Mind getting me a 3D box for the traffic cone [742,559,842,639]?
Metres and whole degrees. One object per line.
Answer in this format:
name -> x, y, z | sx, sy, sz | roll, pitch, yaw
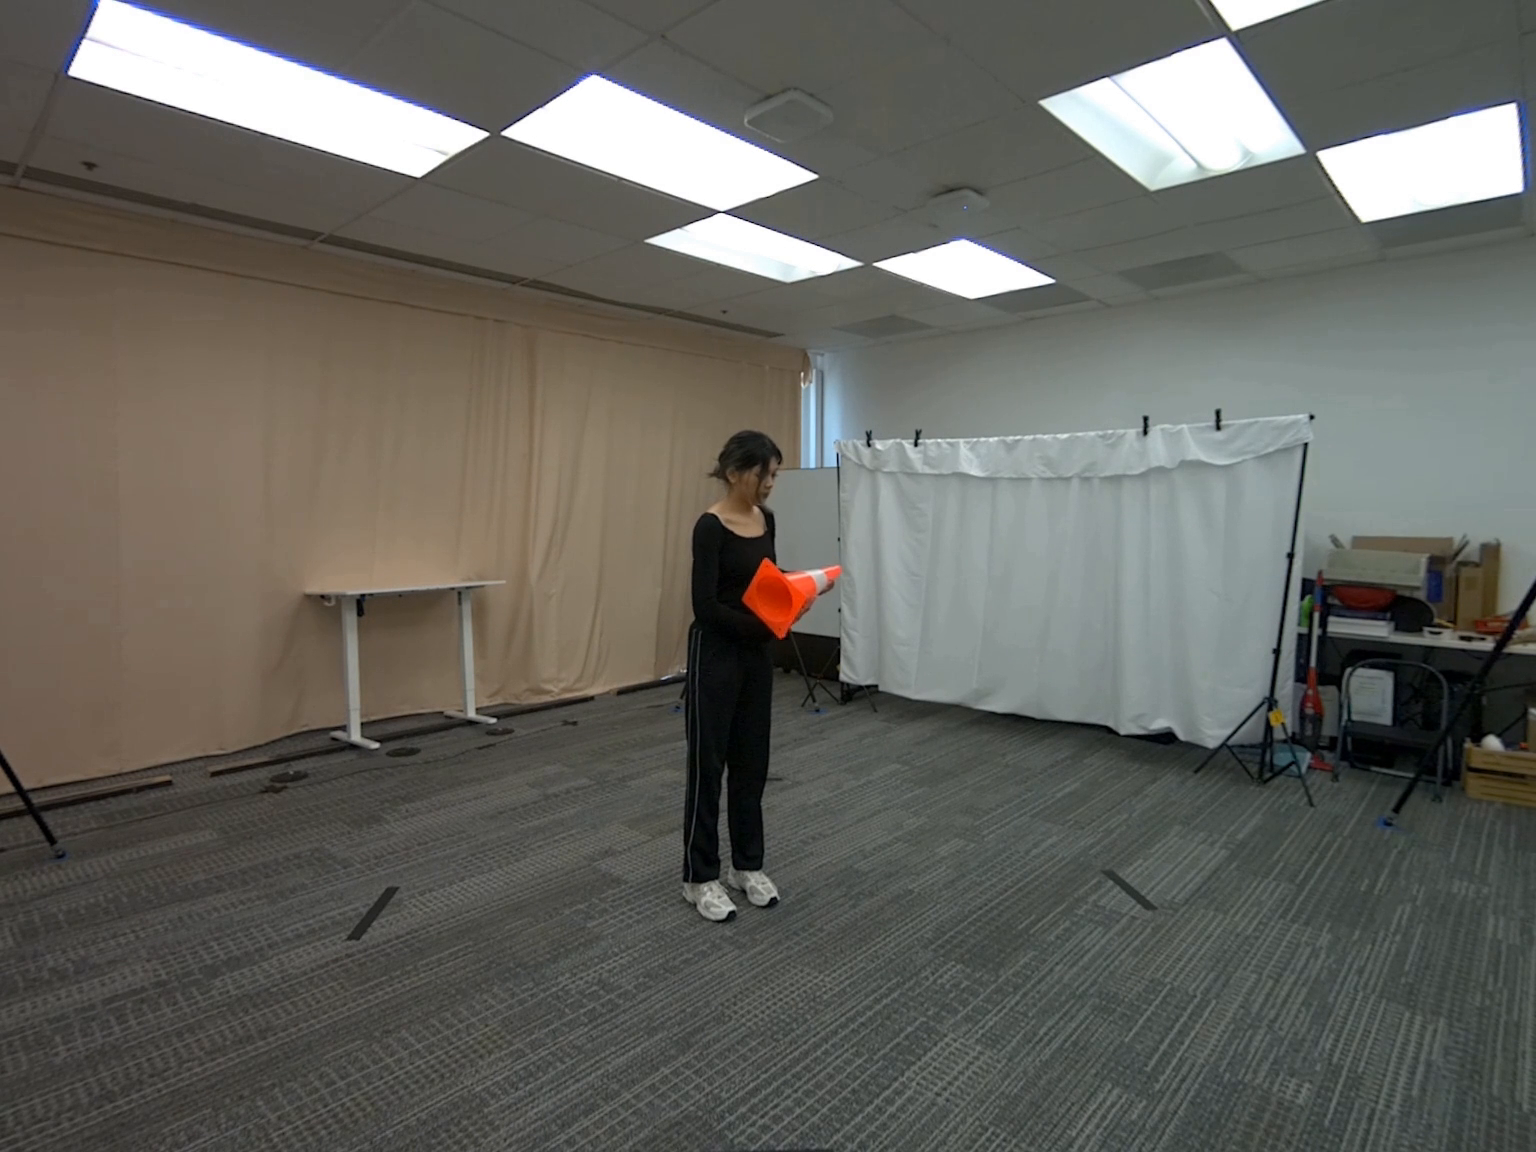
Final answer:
traffic cone -> 0.134, 0.031, 2.879 | 0.210, 0.203, 0.374 | 45, 39, 22
